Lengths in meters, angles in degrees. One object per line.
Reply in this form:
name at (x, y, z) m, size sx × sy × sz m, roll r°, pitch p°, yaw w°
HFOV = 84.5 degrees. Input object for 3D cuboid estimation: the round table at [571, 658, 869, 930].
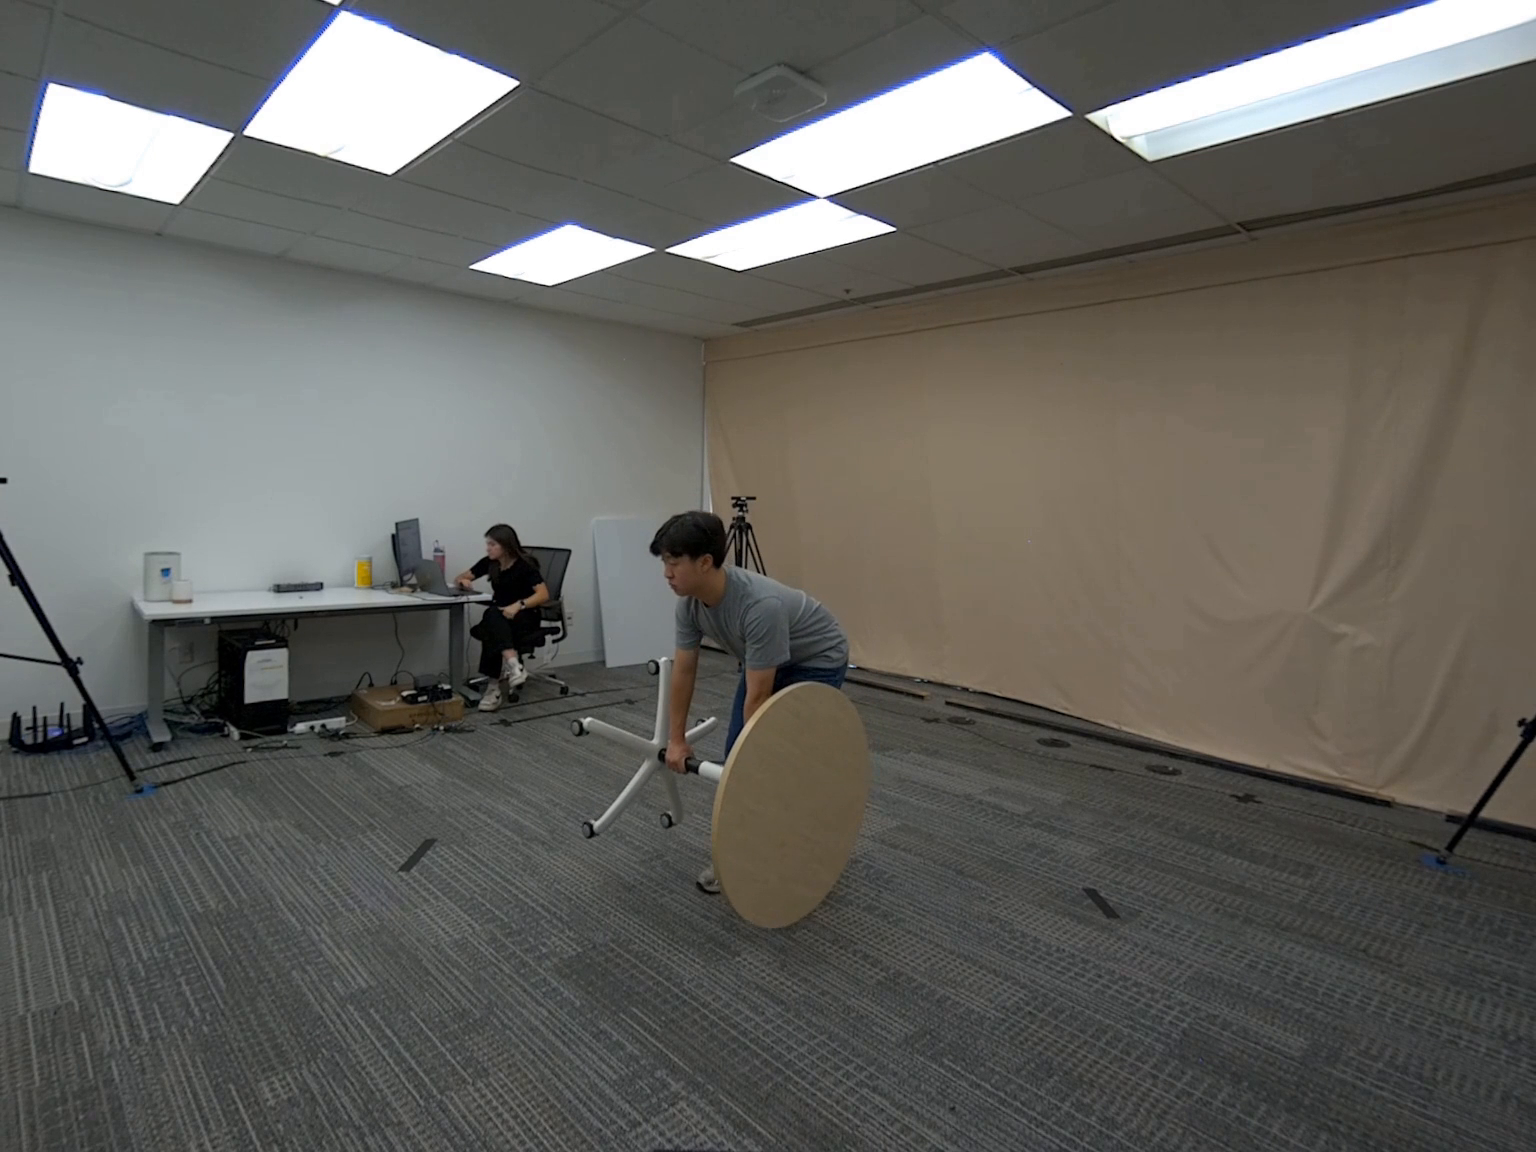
round table at (-0.203, 0.696, 2.934) m, size 0.814 × 0.762 × 0.747 m, roll 5°, pitch 6°, yaw 42°
